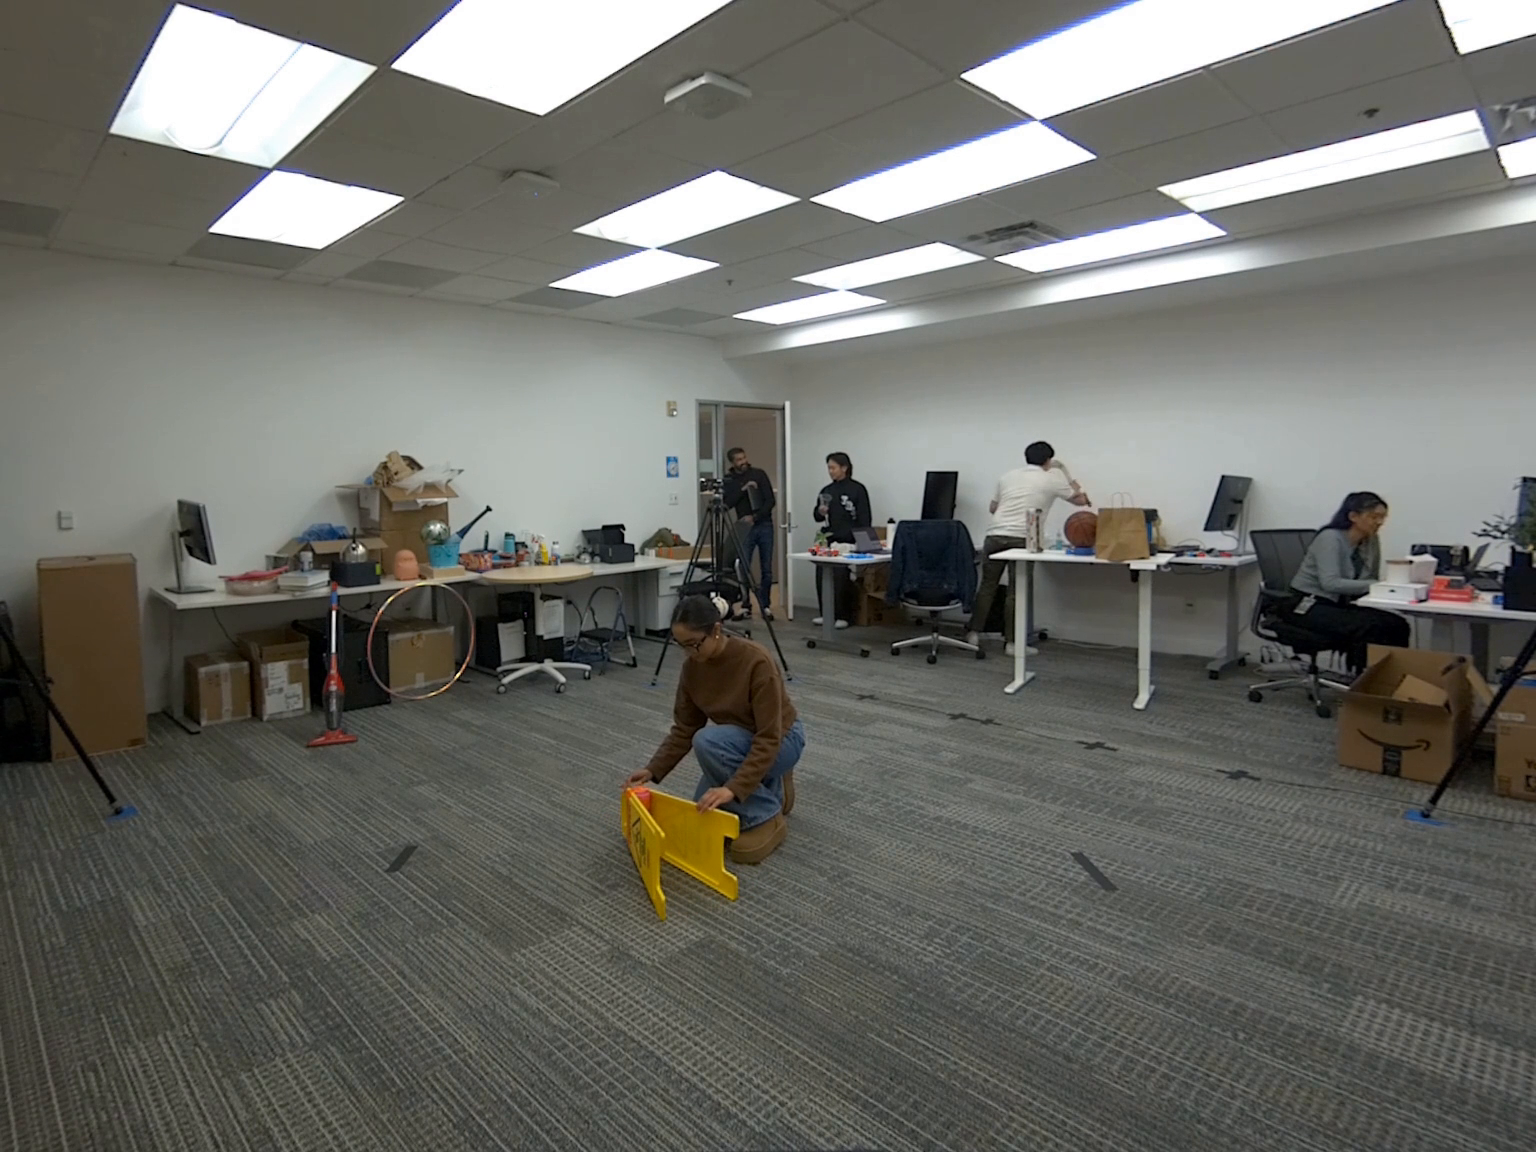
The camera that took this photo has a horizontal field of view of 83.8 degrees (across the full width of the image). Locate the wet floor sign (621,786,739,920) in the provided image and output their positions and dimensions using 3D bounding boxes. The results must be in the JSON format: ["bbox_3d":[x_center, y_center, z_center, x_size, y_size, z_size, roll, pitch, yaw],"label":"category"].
[{"bbox_3d":[-0.388,0.927,3.046,0.282,0.281,0.664,-2,4,-32],"label":"wet floor sign"}]
